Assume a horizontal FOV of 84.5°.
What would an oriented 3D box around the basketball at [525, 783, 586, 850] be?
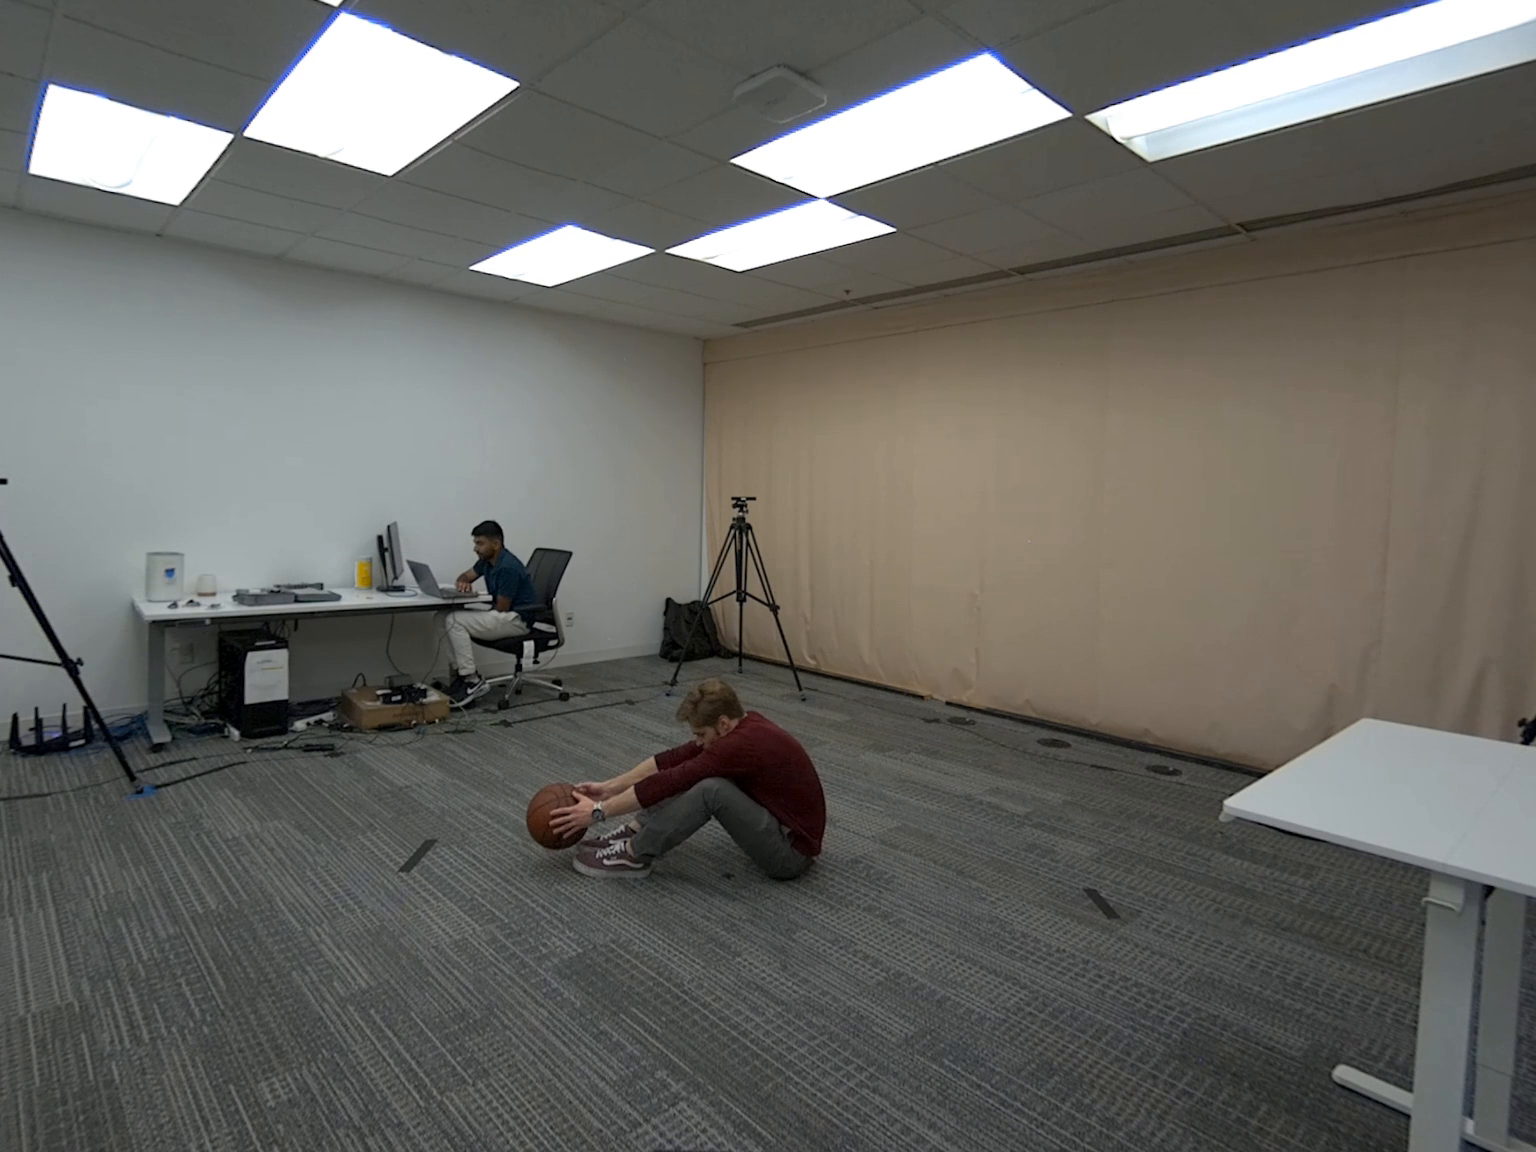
[{"bbox_3d":[-0.793,0.903,3.161,0.236,0.235,0.237,1,4,-1],"label":"basketball"}]
